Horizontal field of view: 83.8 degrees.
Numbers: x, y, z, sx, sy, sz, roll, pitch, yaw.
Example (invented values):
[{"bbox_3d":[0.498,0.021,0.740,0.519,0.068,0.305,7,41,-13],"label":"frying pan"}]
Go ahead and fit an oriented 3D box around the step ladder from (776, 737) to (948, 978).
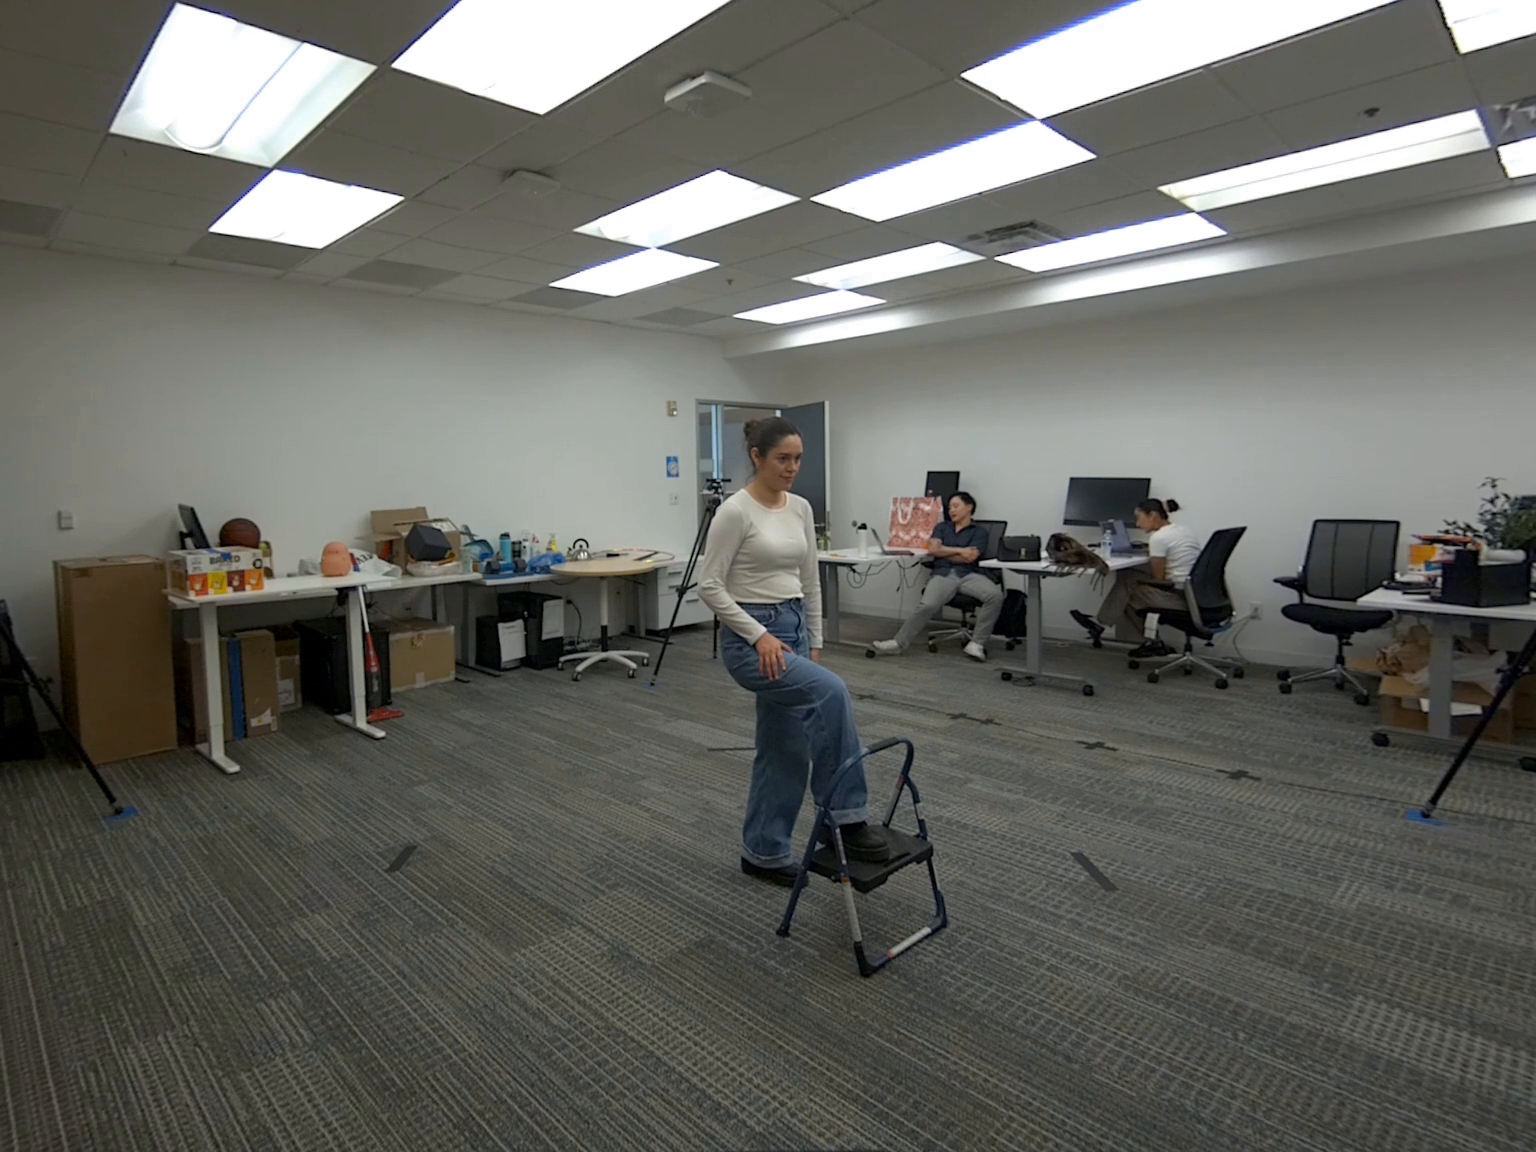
[{"bbox_3d":[0.294,0.793,2.622,0.360,0.603,0.419,3,7,44],"label":"step ladder"}]
